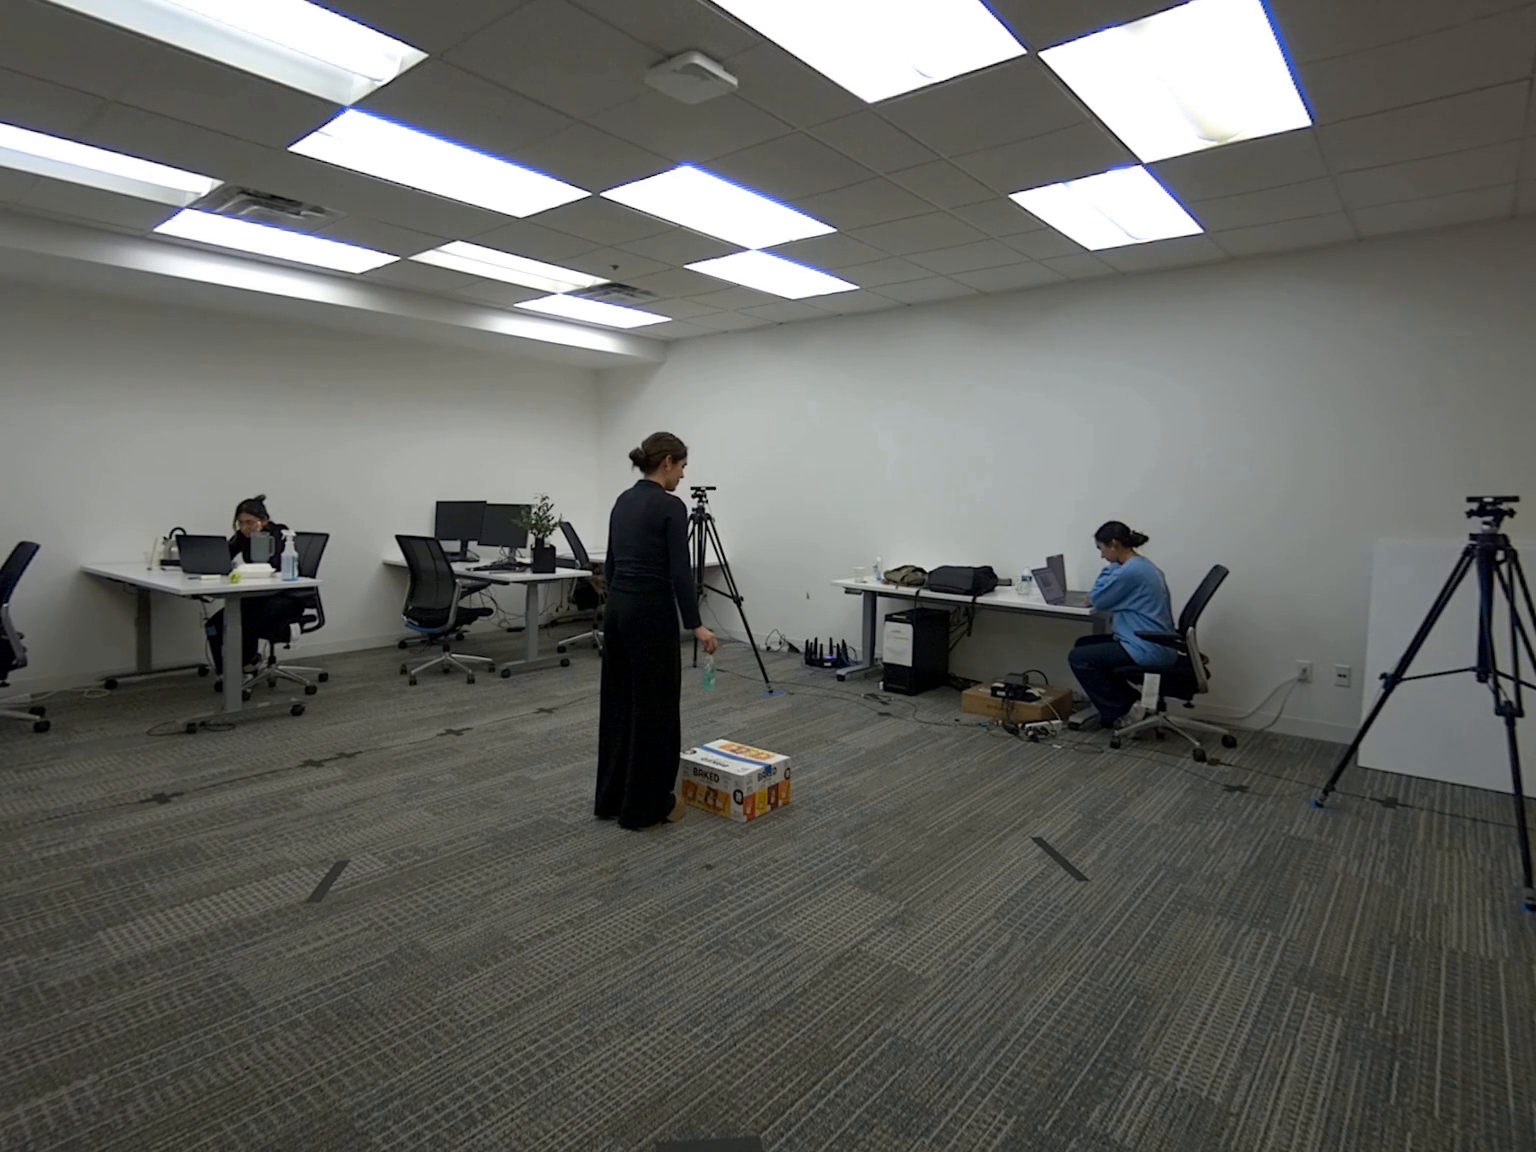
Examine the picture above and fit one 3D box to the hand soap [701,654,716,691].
[{"bbox_3d":[-0.247,0.378,3.464,0.044,0.168,0.083,-2,-1,9],"label":"hand soap"}]
